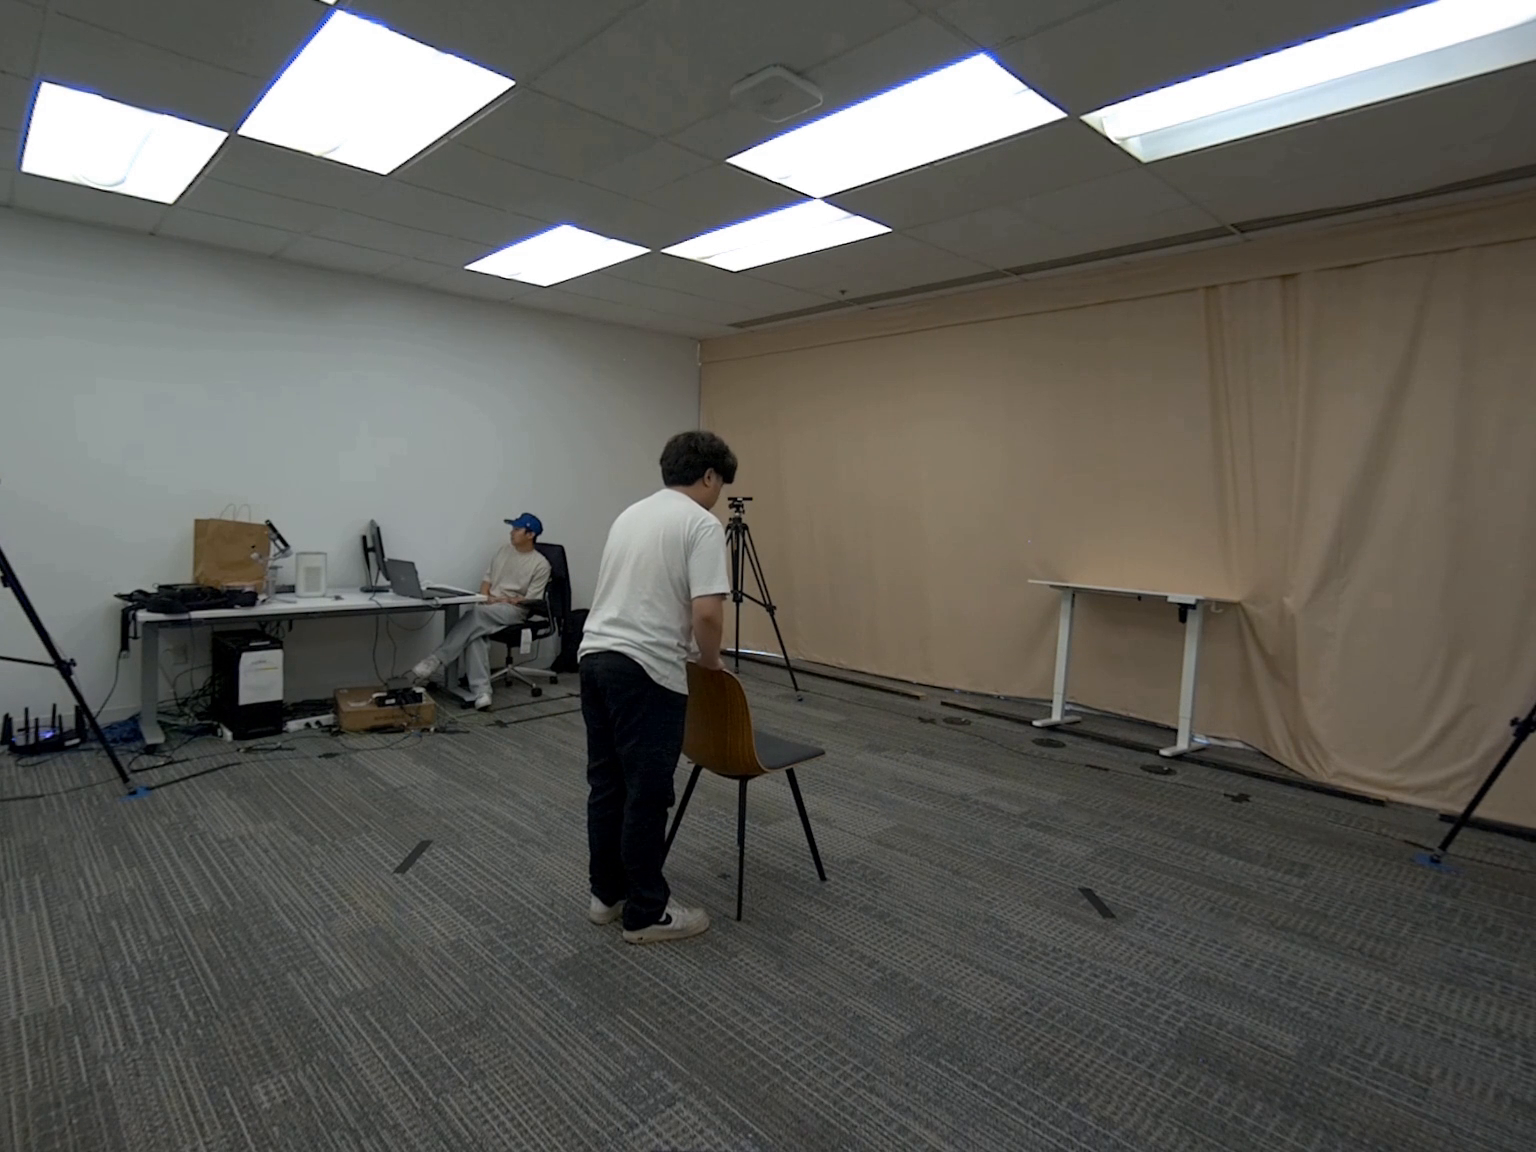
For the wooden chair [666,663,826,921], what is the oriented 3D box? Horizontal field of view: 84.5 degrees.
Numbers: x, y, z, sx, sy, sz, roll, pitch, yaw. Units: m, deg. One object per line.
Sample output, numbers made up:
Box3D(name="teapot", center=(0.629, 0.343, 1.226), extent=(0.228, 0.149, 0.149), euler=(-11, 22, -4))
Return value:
Box3D(name="wooden chair", center=(-0.094, 0.688, 3.065), extent=(0.490, 0.873, 0.512), euler=(4, 9, 44))
